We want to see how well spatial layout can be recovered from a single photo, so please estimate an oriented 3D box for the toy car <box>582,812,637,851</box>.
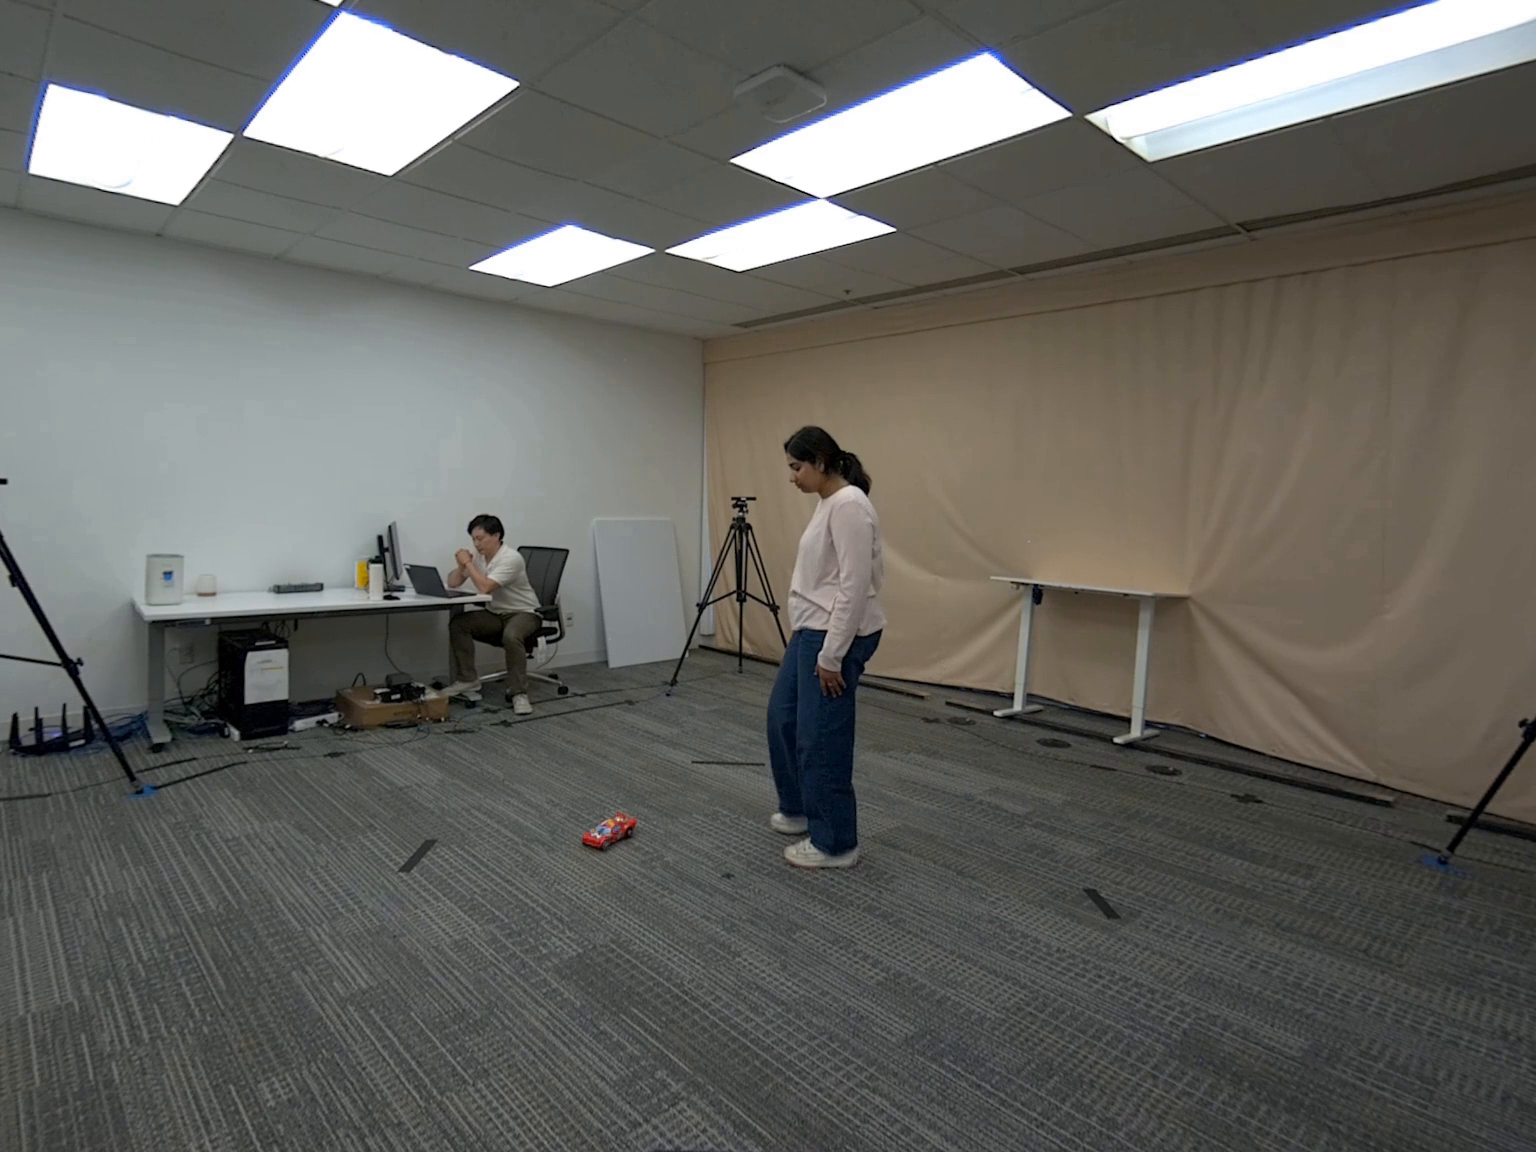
[{"bbox_3d":[-0.639,1.031,3.408,0.133,0.082,0.251,2,16,31],"label":"toy car"}]
